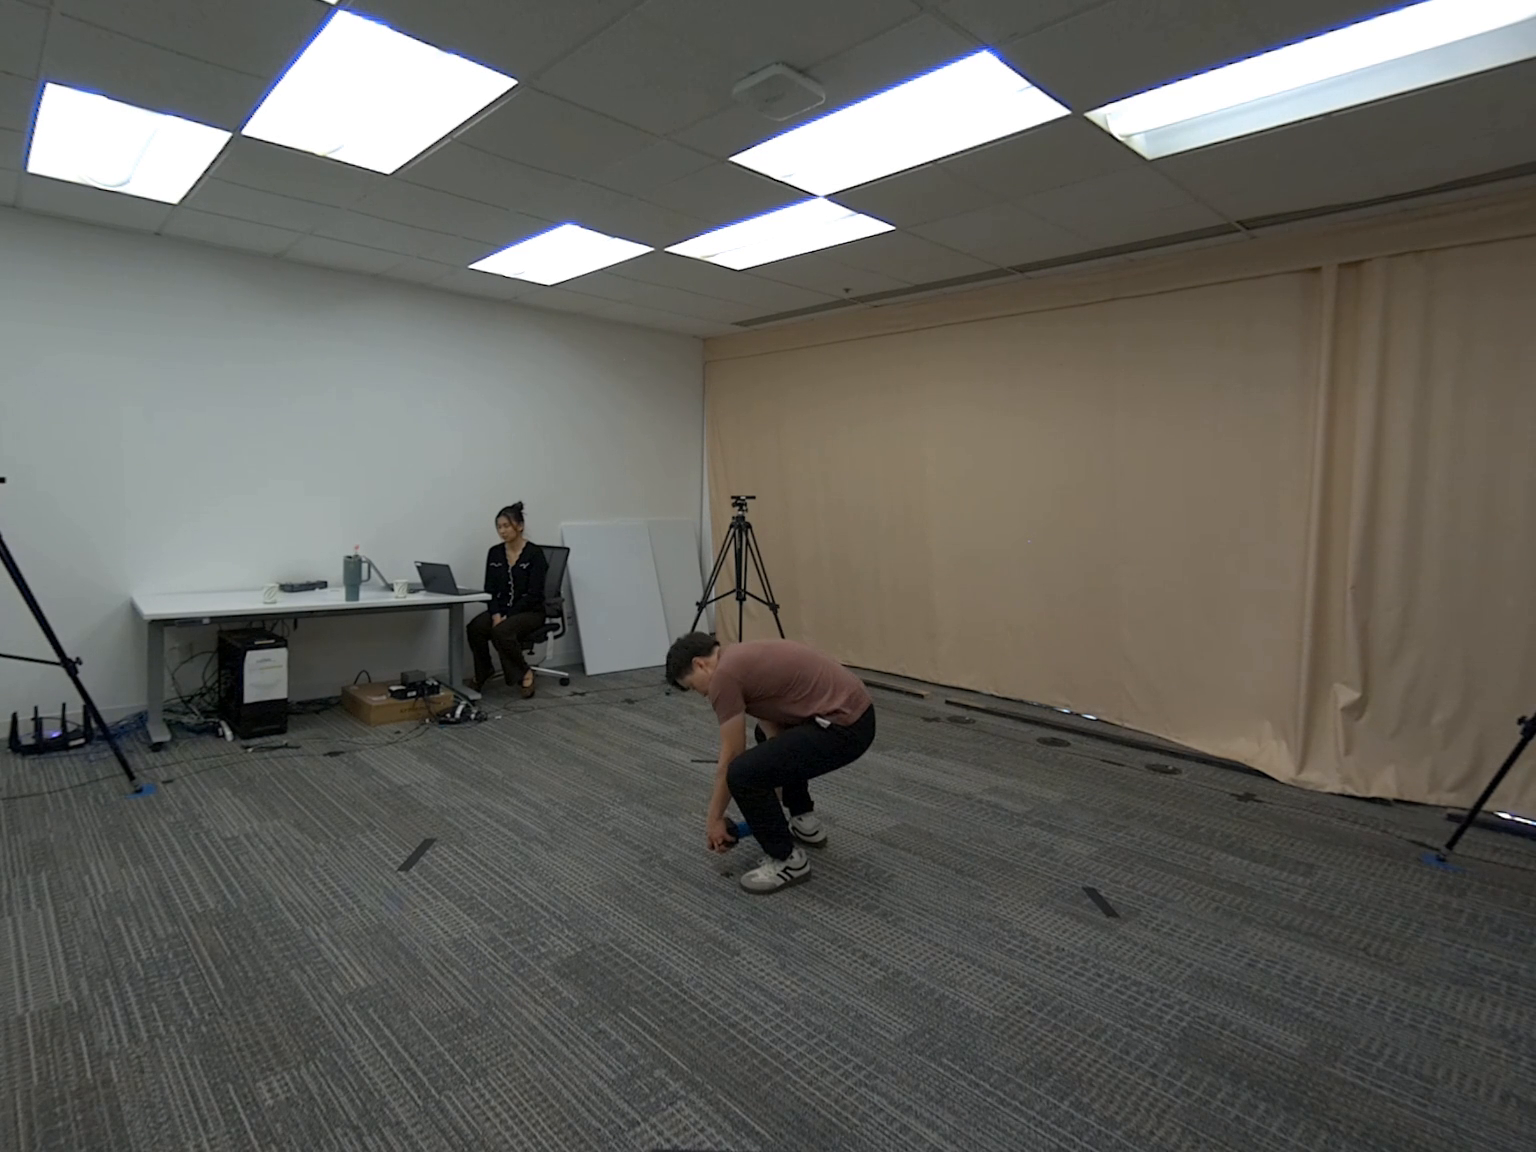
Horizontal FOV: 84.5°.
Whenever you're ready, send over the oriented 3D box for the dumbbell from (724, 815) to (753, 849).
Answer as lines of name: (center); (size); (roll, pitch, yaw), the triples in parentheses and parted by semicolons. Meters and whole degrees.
dumbbell: (-0.100, 0.959, 3.227); (0.286, 0.123, 0.111); (1, -7, -41)
